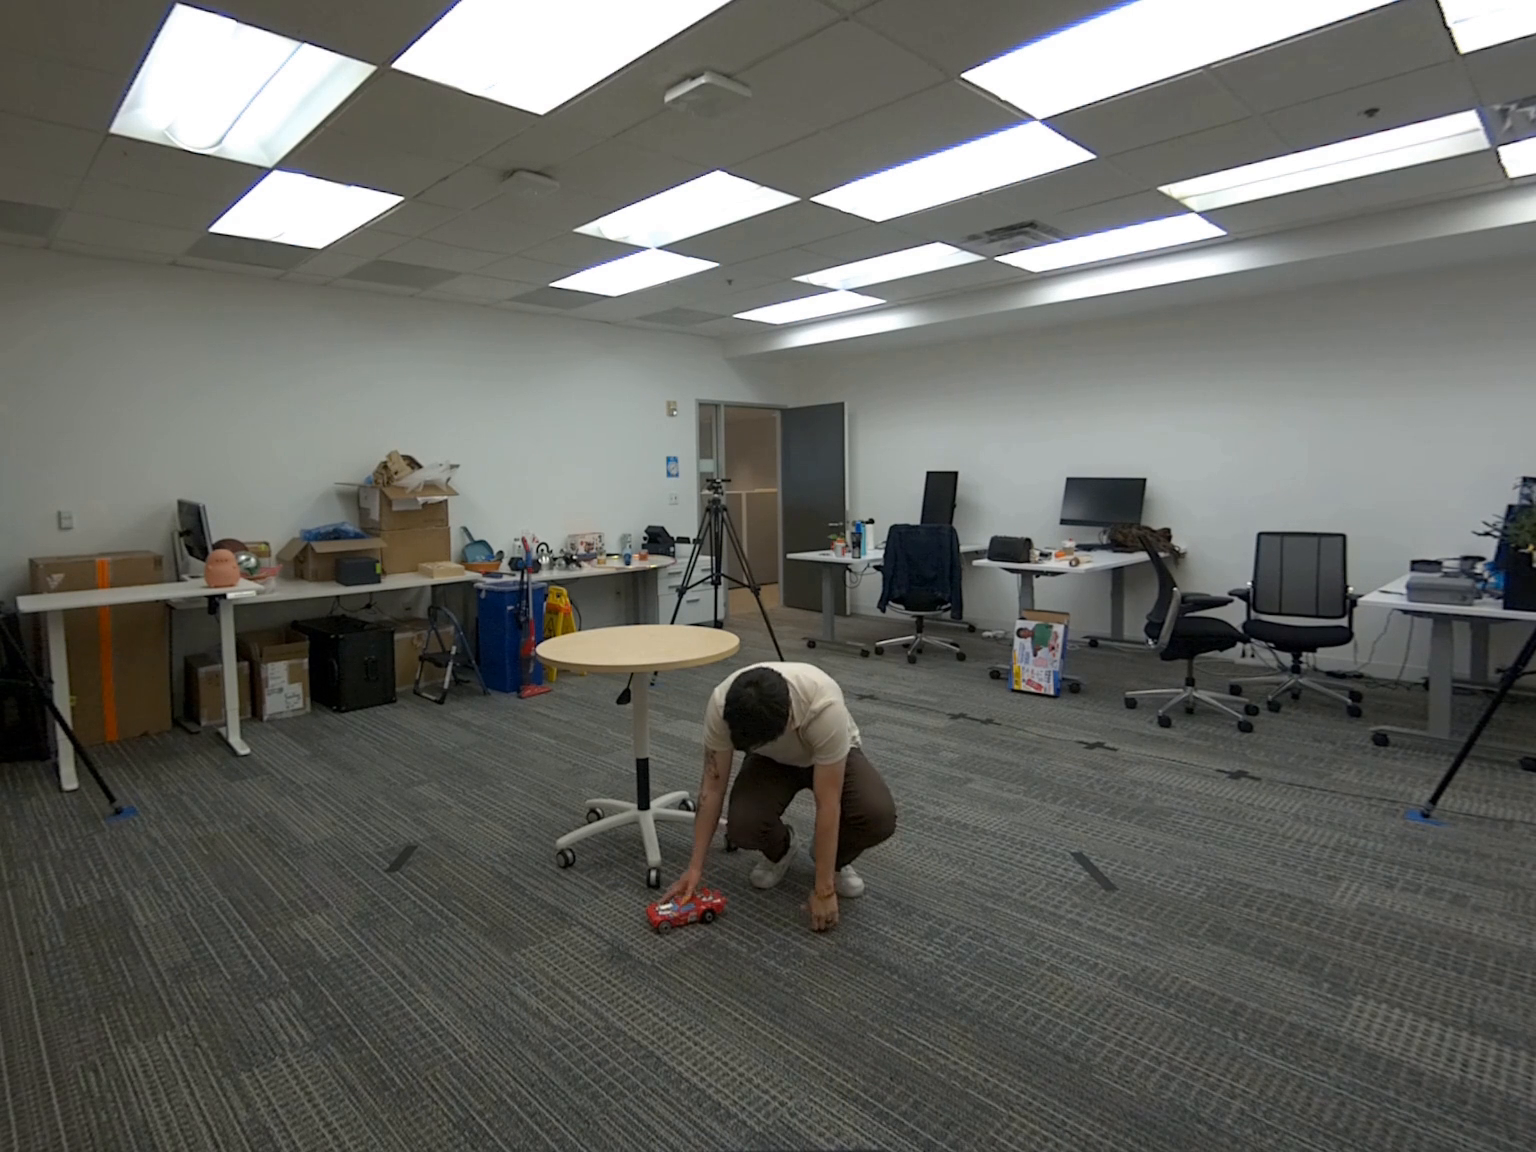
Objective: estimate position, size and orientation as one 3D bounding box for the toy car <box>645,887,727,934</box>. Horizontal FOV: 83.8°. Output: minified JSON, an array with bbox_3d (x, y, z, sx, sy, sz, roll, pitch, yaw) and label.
[{"bbox_3d":[-0.251,1.064,2.710,0.251,0.082,0.133,-15,9,-21],"label":"toy car"}]
